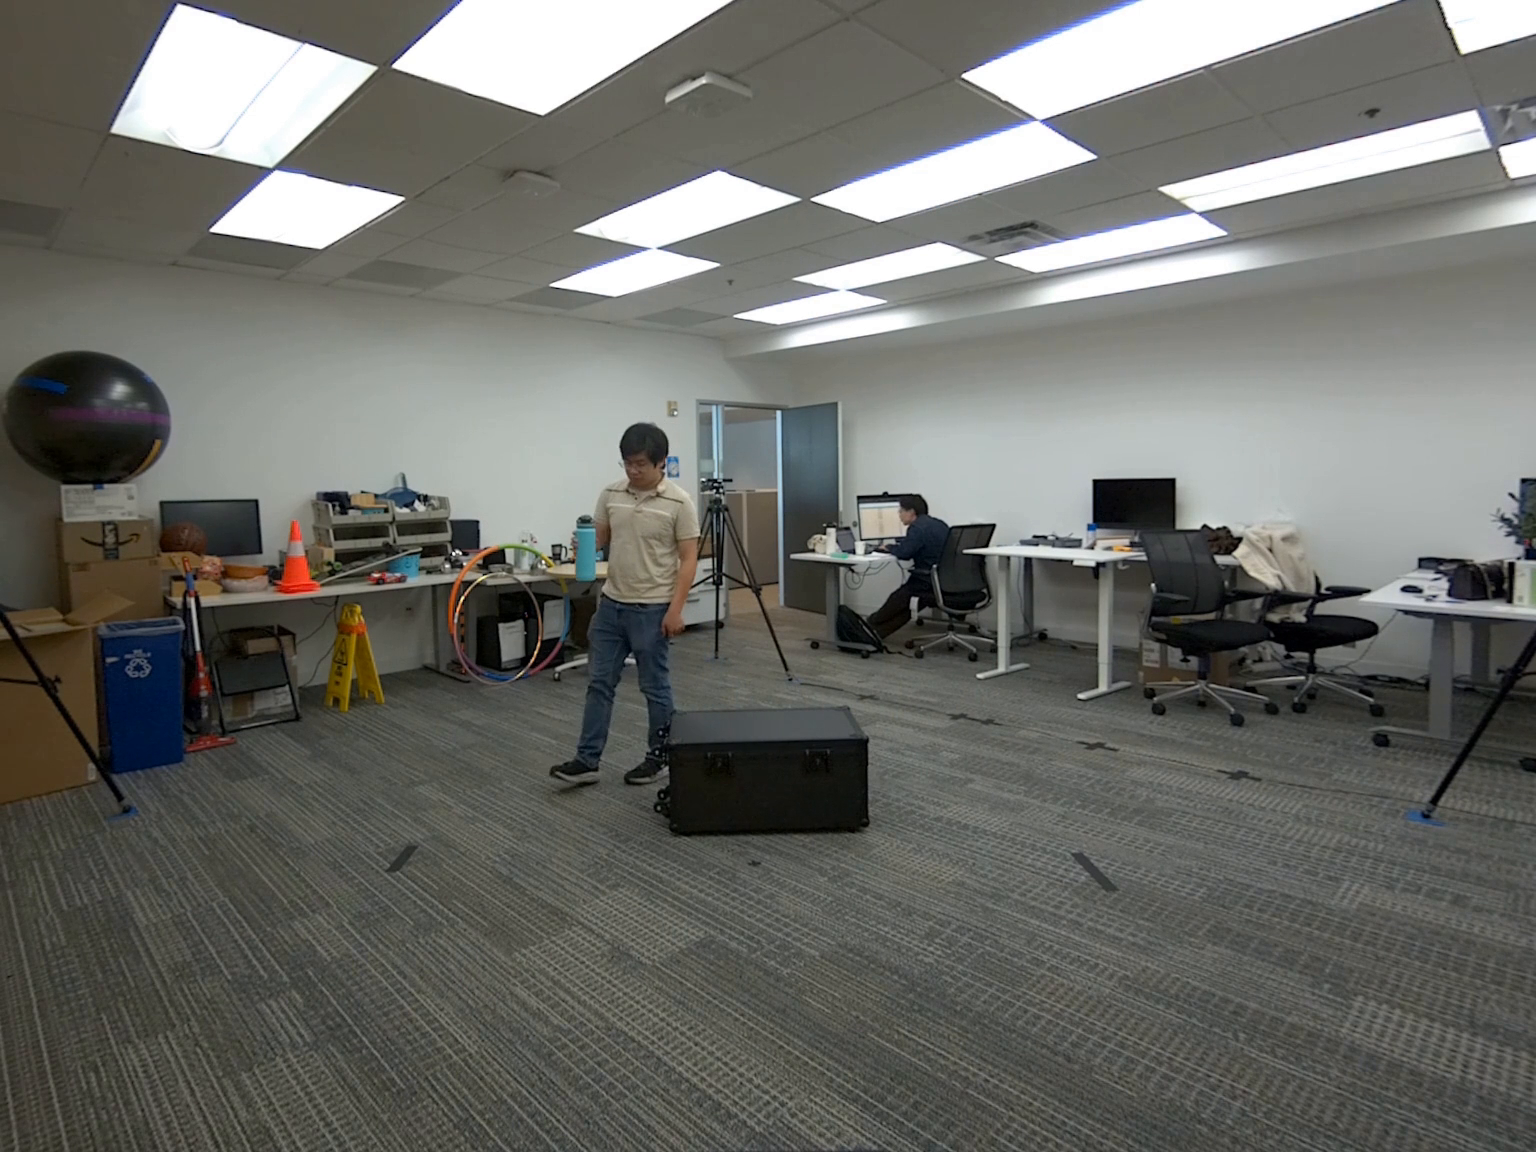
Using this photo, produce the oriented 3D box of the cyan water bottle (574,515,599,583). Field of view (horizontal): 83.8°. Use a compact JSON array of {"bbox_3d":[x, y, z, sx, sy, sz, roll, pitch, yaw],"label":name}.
[{"bbox_3d":[-0.800,-0.126,3.737,0.092,0.282,0.093,-2,5,-1],"label":"cyan water bottle"}]
